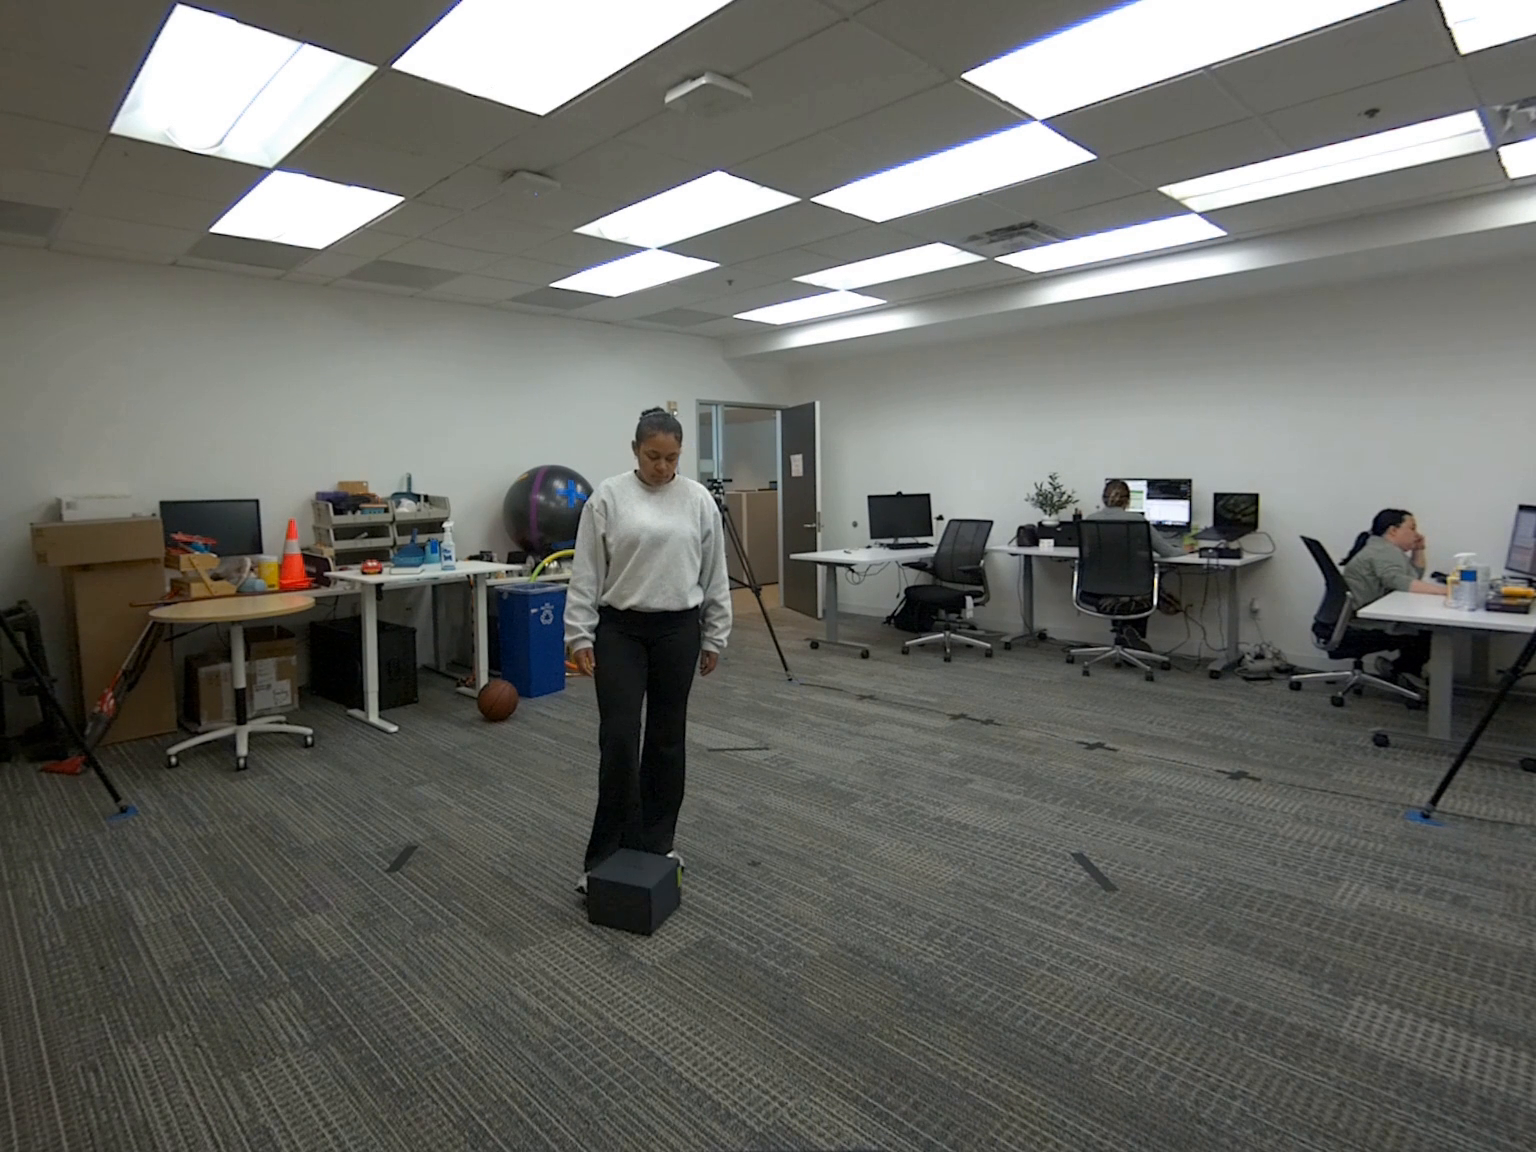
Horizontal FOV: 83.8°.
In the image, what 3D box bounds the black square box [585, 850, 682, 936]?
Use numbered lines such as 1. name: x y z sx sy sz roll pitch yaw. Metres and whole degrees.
1. black square box: -0.421 1.013 2.746 0.233 0.155 0.213 0 6 23
